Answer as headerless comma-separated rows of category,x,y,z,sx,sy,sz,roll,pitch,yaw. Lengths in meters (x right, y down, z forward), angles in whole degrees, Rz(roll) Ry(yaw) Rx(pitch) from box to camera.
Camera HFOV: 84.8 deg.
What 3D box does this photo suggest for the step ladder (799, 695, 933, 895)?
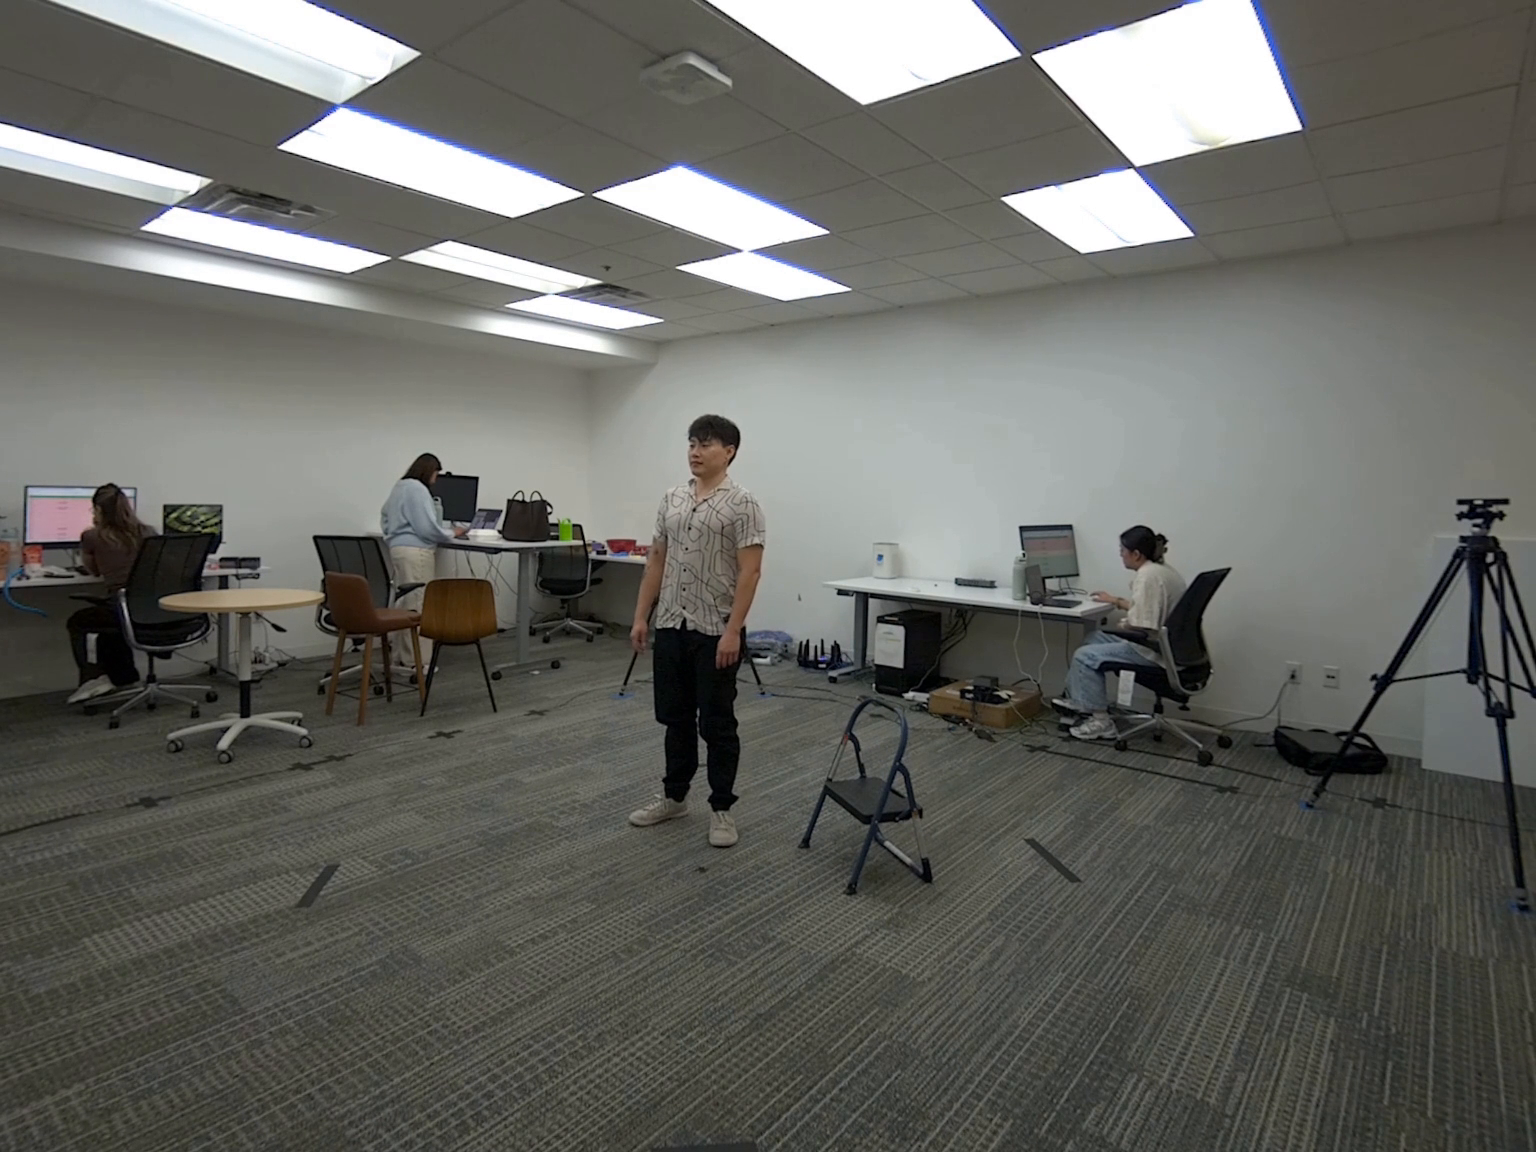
step ladder,0.360,0.771,3.173,0.342,0.604,0.441,0,4,-21
